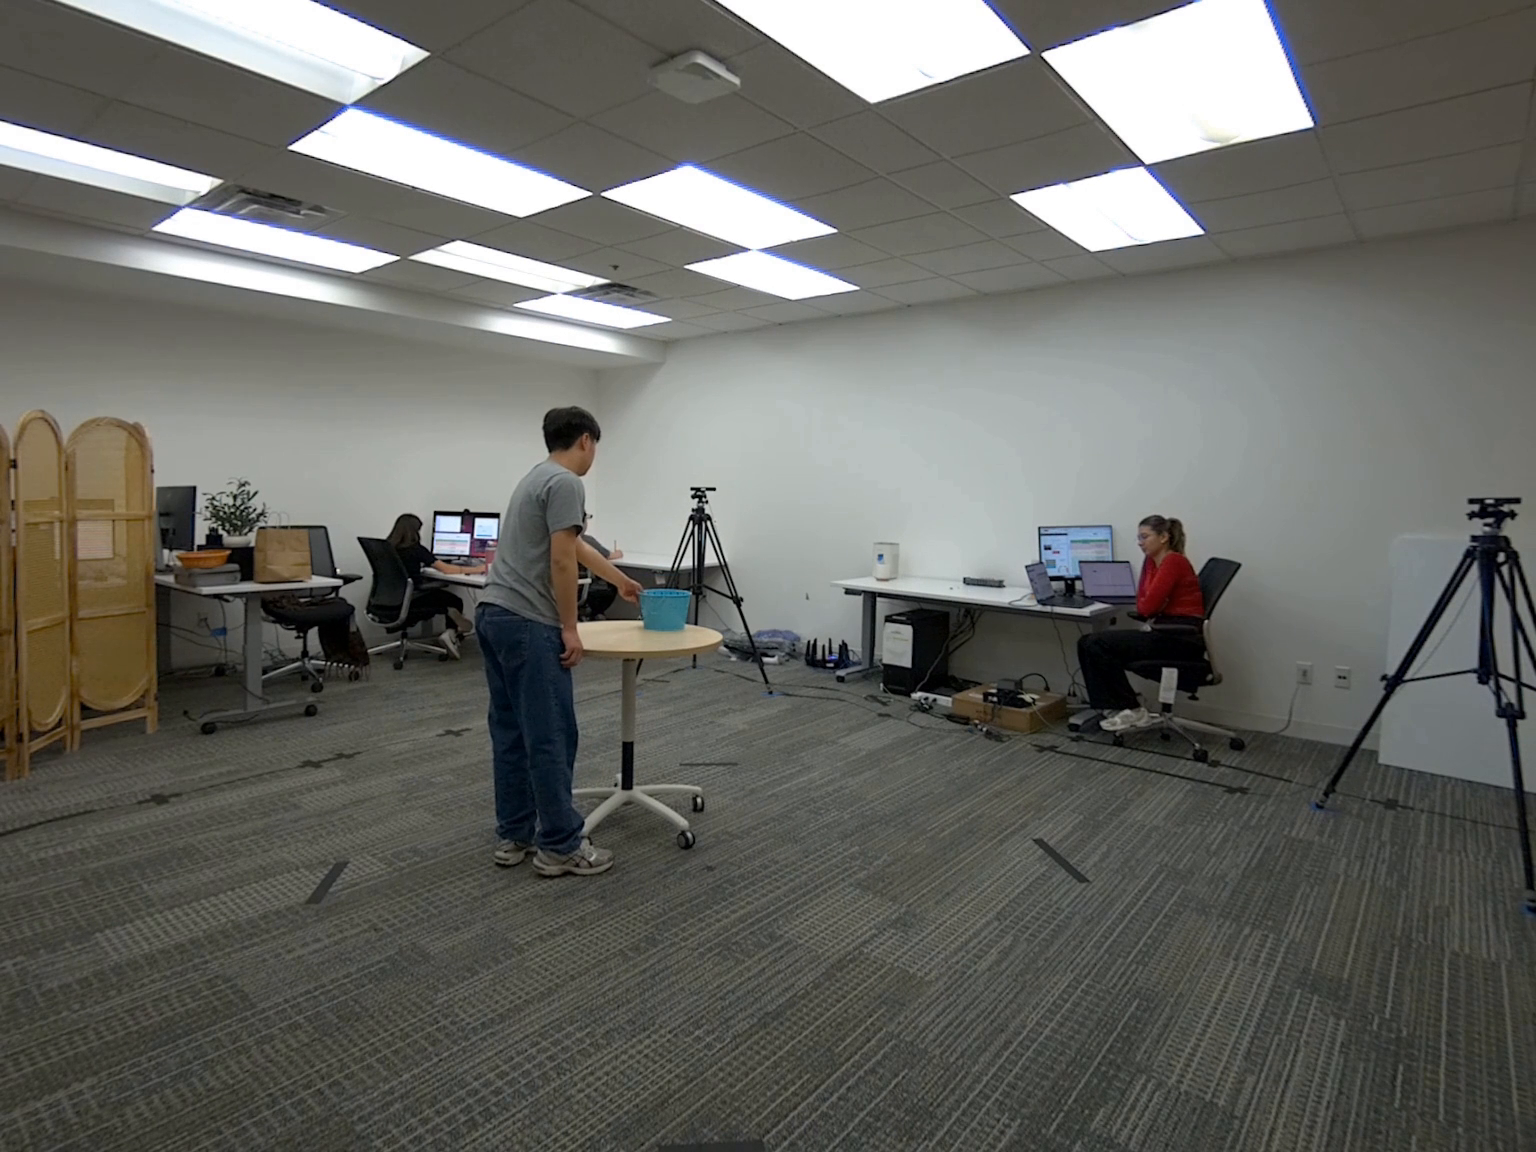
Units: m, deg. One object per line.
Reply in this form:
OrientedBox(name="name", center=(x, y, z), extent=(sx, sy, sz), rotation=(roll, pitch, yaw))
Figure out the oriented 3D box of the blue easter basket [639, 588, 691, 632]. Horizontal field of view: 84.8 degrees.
OrientedBox(name="blue easter basket", center=(-0.474, 0.149, 3.719), extent=(0.243, 0.155, 0.245), rotation=(1, 4, -2))
